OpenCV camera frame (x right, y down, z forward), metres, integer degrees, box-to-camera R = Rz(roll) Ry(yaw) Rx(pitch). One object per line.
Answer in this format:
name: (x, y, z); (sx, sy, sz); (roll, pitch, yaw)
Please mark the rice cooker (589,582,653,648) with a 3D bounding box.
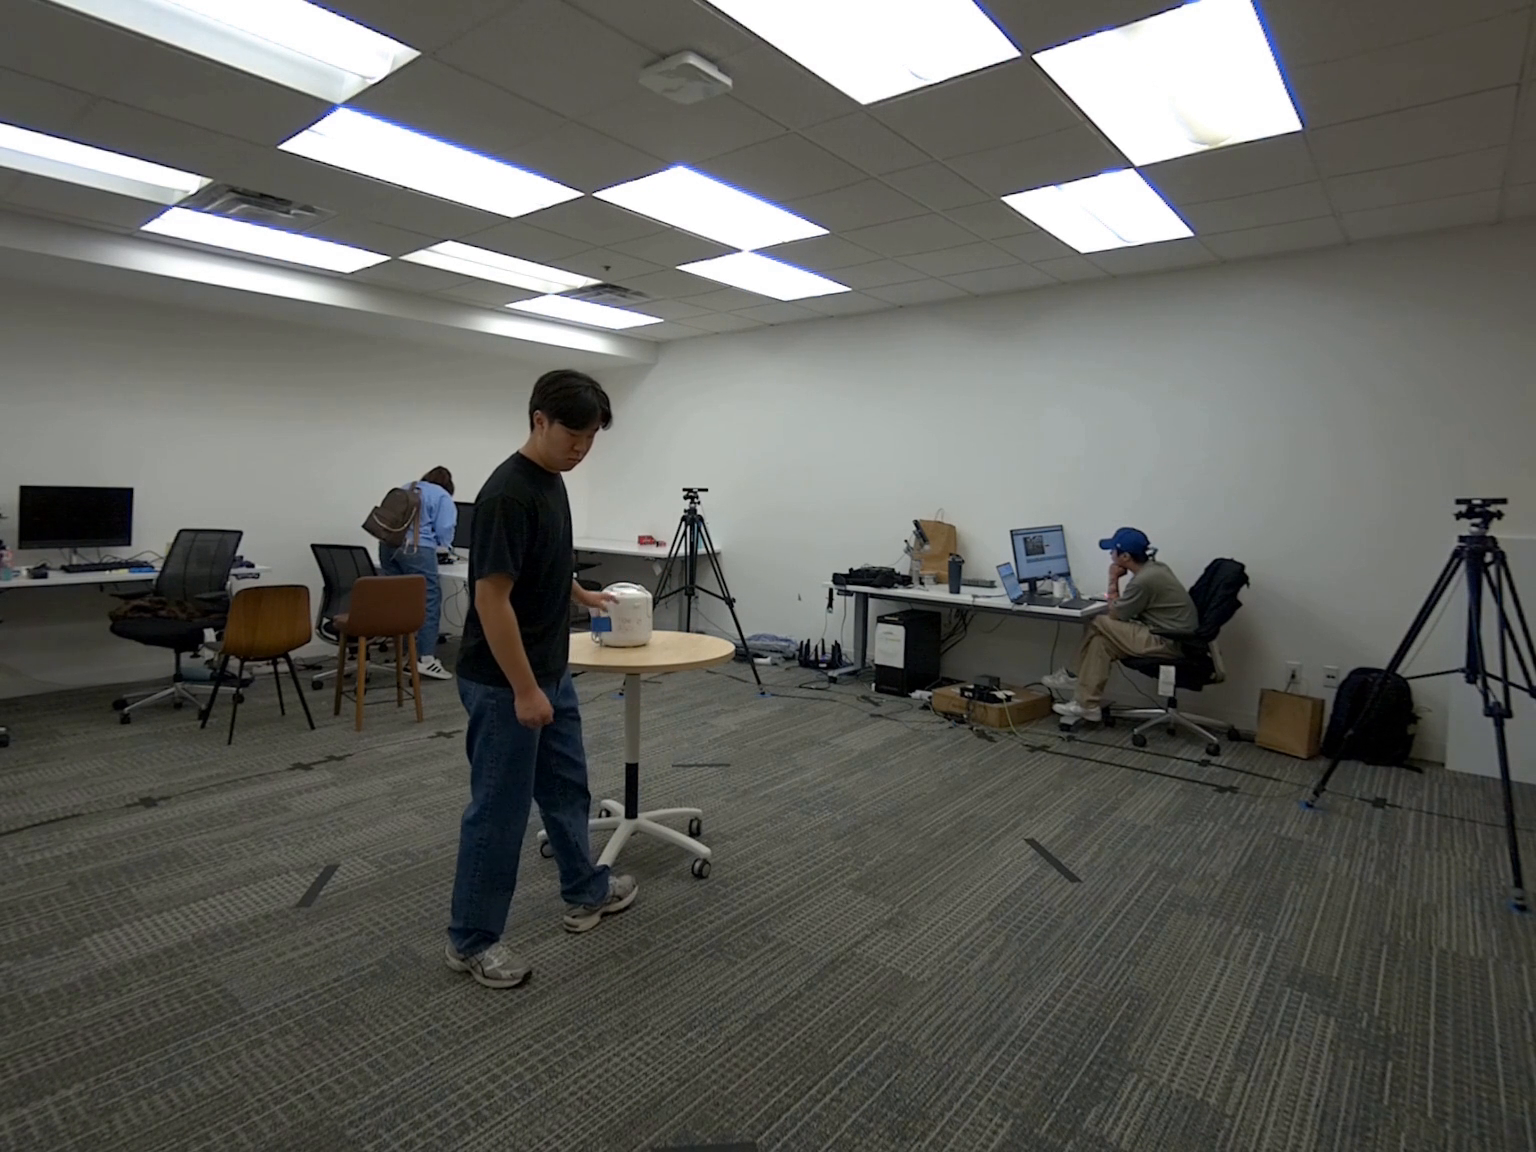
rice cooker: (-0.560, 0.138, 3.237); (0.225, 0.232, 0.214); (2, 5, 18)
